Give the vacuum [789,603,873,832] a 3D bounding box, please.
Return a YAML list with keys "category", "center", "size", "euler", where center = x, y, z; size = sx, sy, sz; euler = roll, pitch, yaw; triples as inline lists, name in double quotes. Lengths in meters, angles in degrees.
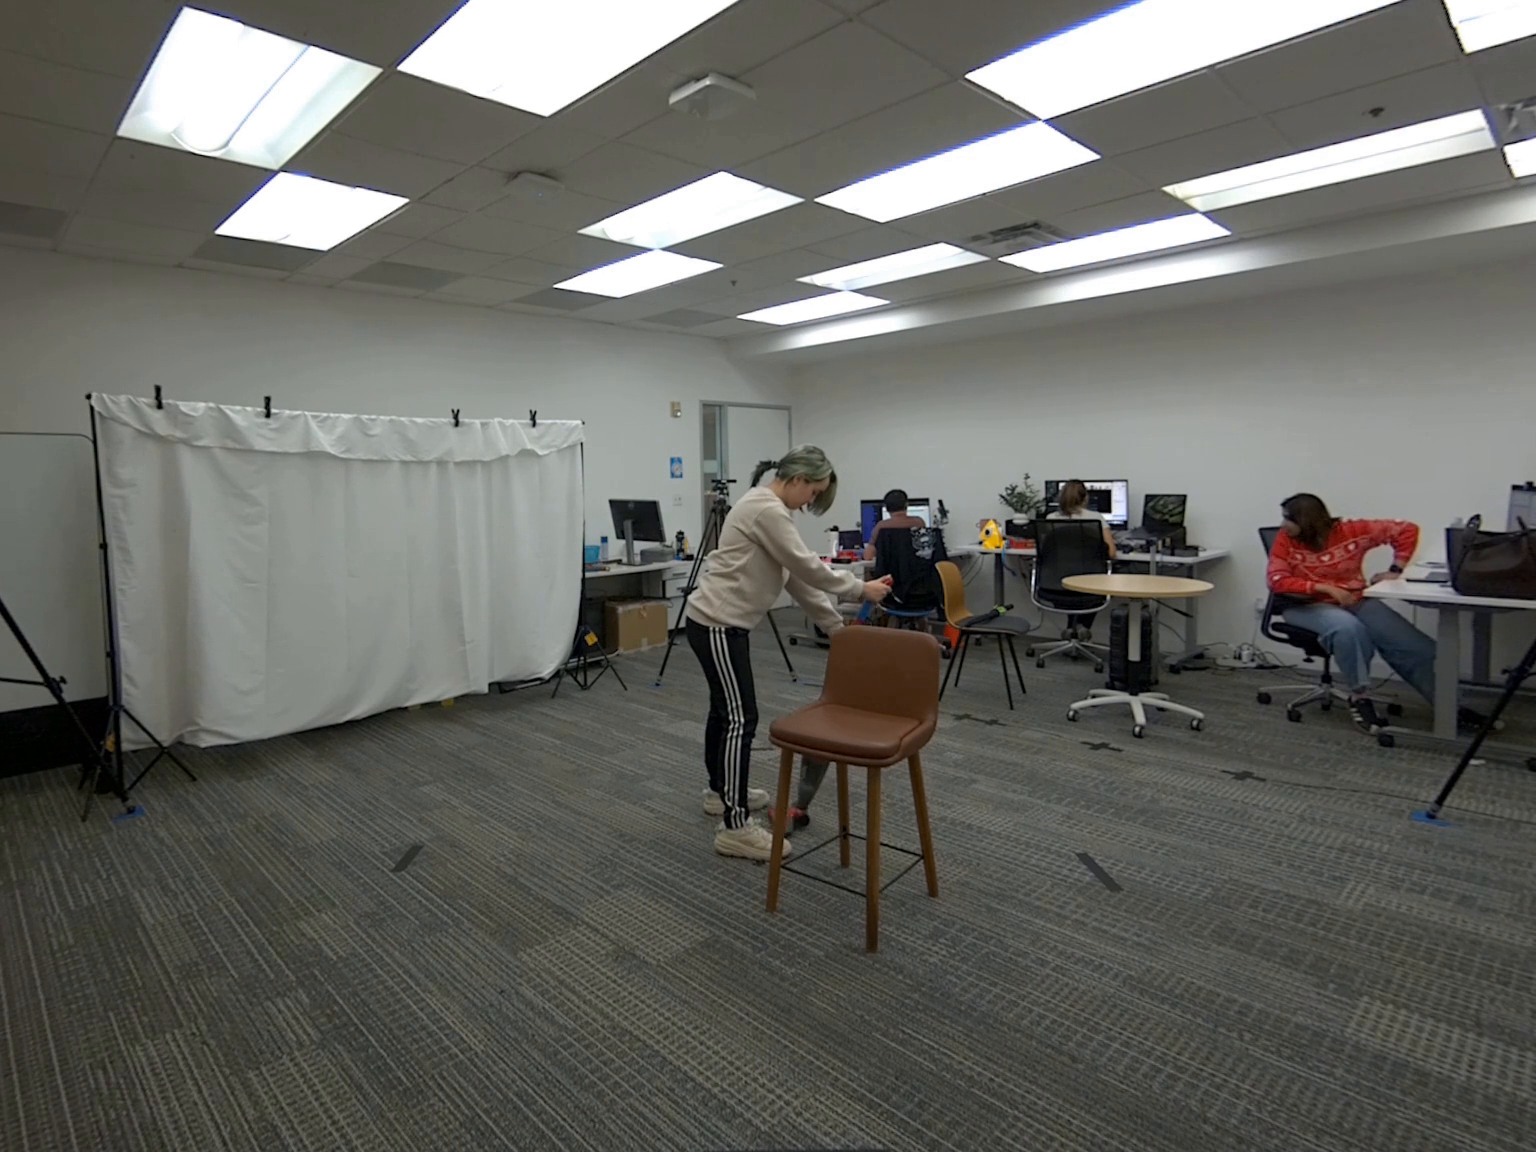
- category: "vacuum"
  center: [0.290, 0.517, 3.430]
  size: [0.141, 1.048, 0.258]
  euler: [24, 2, -17]
